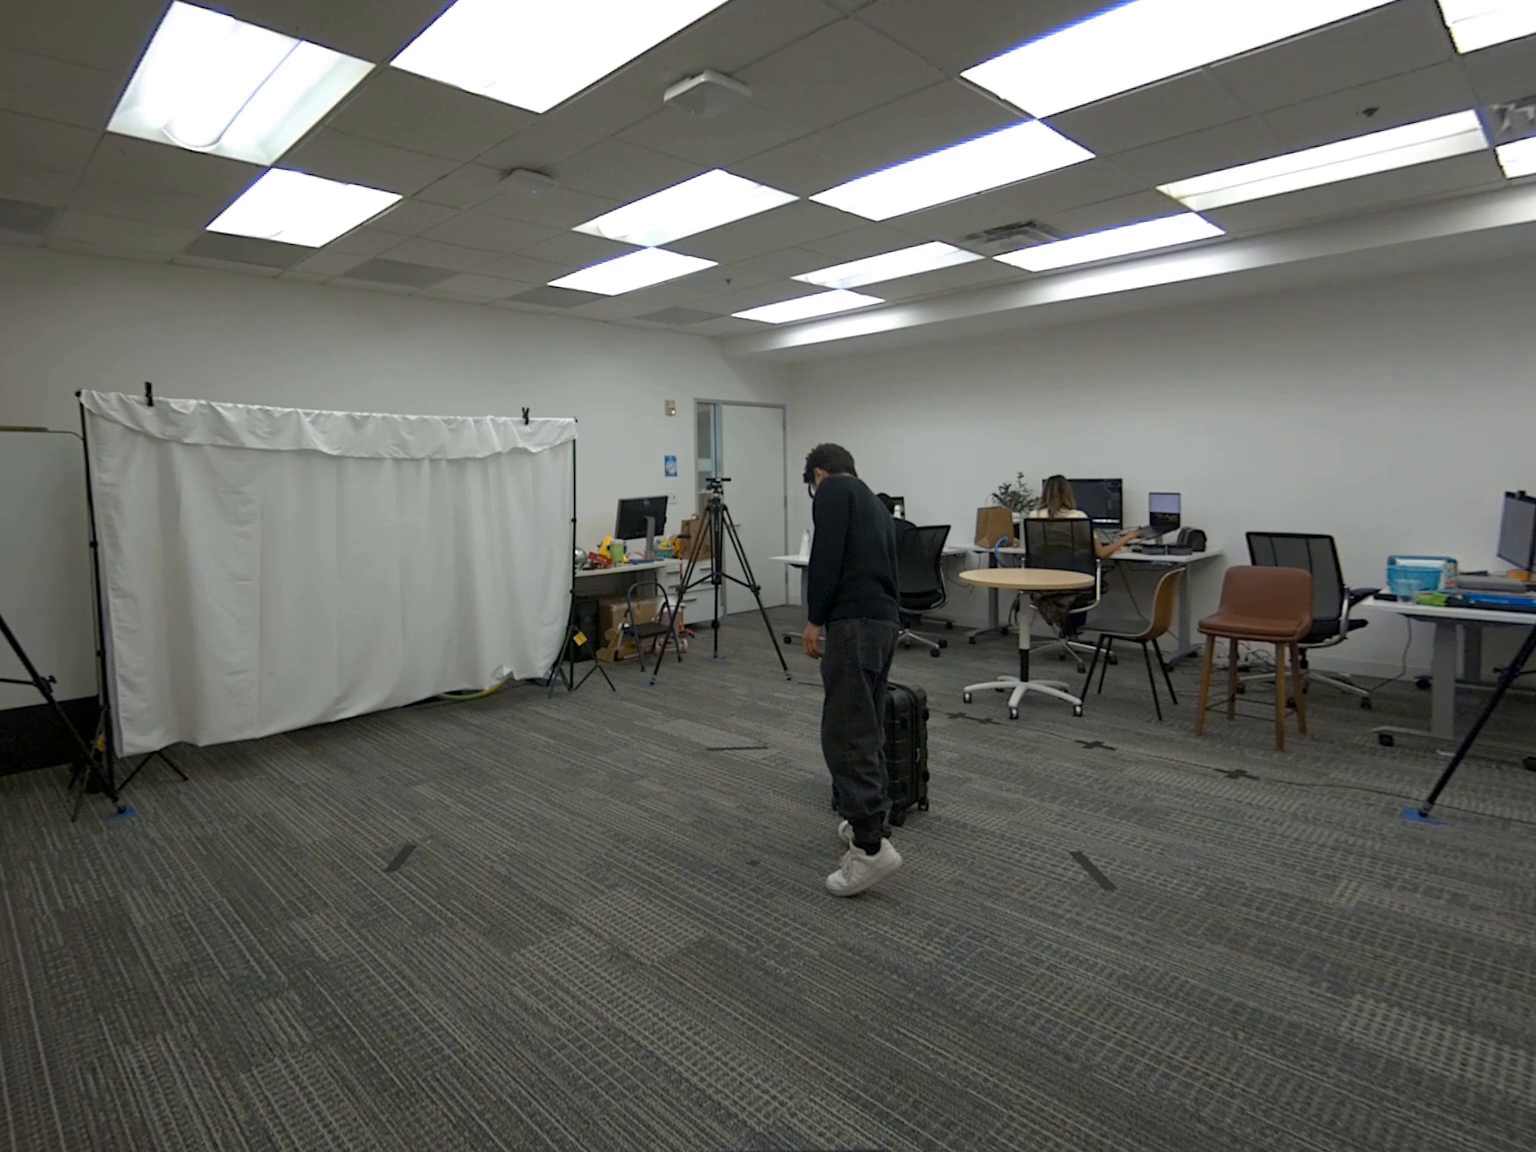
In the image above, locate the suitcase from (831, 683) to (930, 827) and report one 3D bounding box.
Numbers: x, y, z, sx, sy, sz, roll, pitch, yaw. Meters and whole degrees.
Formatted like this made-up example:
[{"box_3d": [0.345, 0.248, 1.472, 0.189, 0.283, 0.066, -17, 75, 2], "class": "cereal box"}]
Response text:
[{"box_3d": [0.473, 0.705, 3.577, 0.387, 0.547, 0.242, 4, 6, 45], "class": "suitcase"}]
